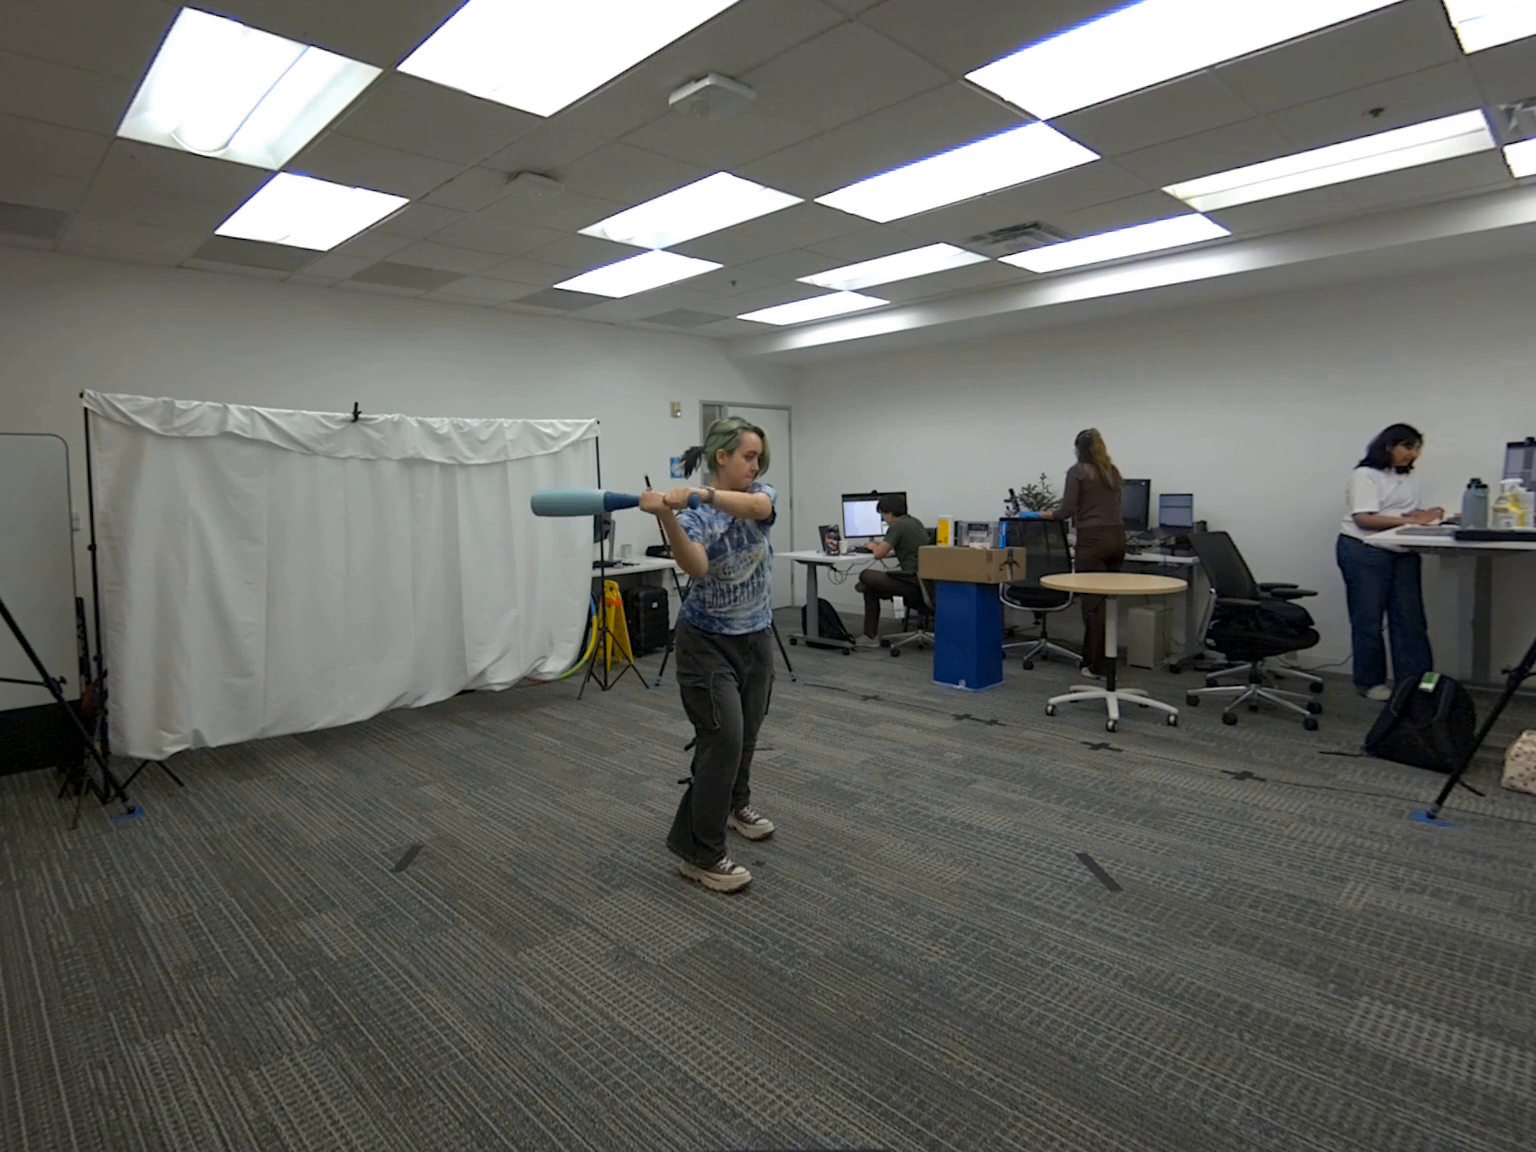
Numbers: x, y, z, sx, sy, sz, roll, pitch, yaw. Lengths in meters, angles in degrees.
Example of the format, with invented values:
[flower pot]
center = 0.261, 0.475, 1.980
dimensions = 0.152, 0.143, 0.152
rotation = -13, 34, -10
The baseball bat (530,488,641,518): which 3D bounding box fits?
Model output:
[baseball bat]
center = -0.436, -0.223, 2.625
dimensions = 0.551, 0.089, 0.088
rotation = 0, 5, 15
